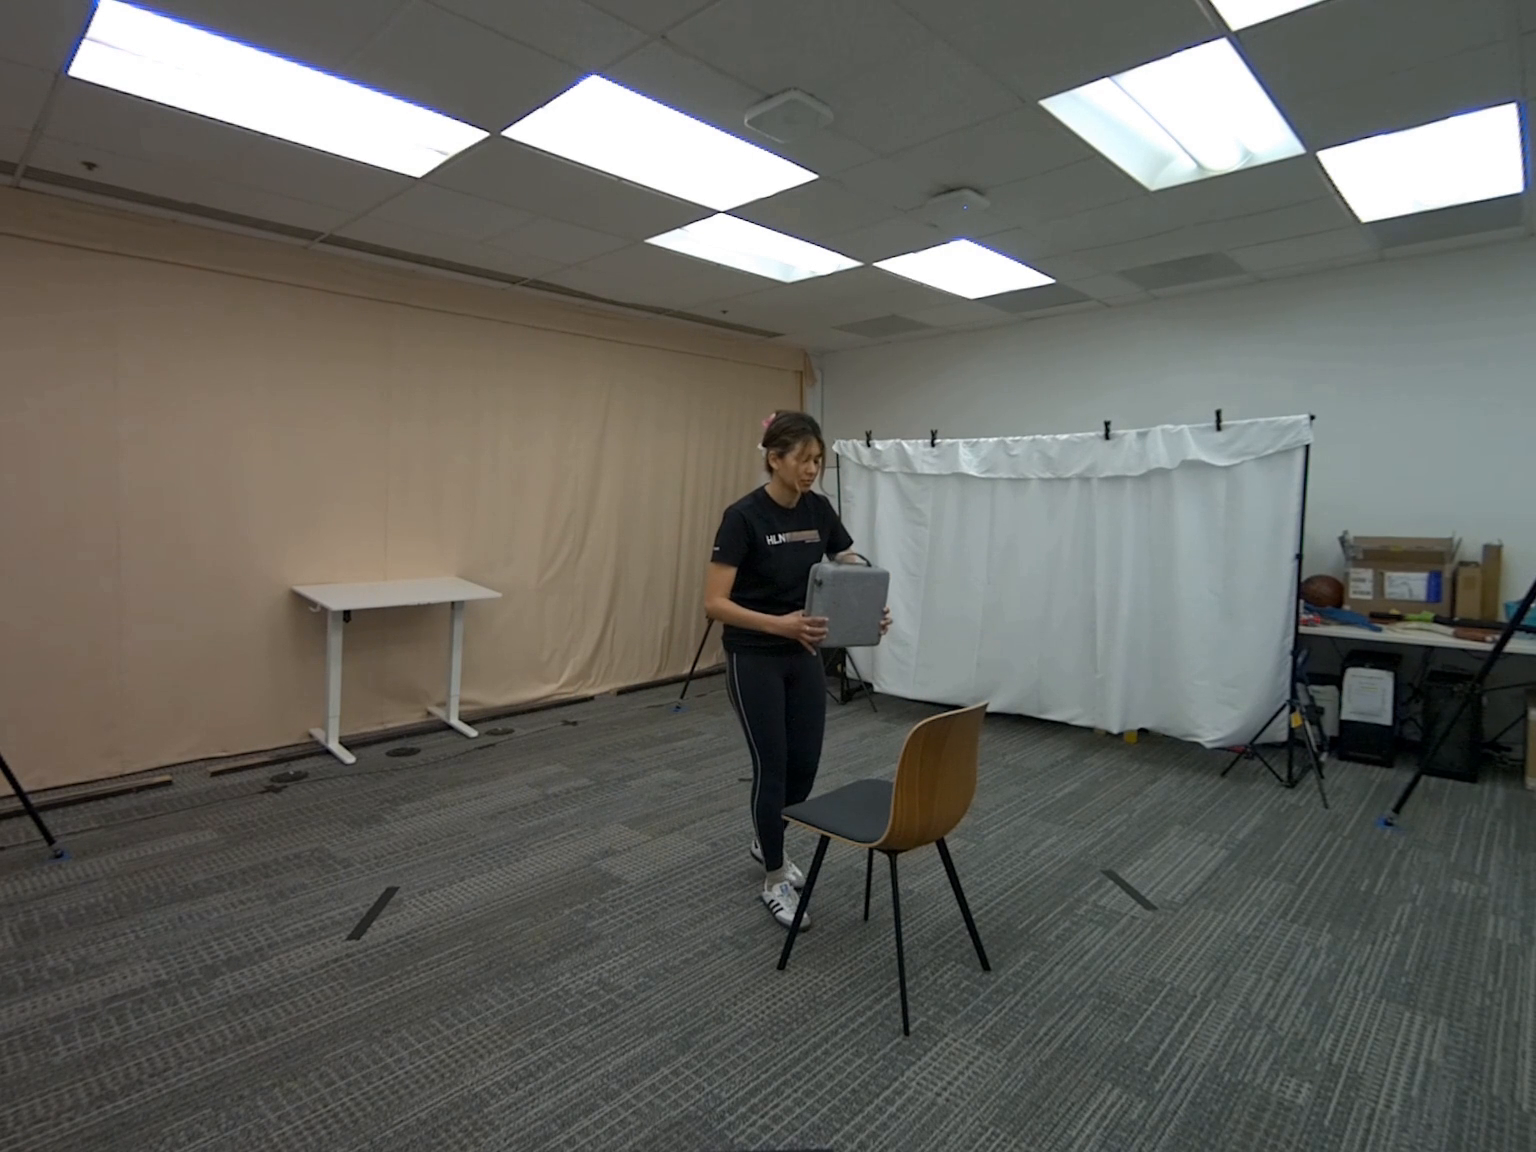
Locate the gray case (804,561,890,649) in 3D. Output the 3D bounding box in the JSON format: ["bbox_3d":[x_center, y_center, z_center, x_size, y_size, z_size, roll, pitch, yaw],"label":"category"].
[{"bbox_3d":[0.241,0.090,2.580,0.250,0.259,0.107,1,9,-29],"label":"gray case"}]
